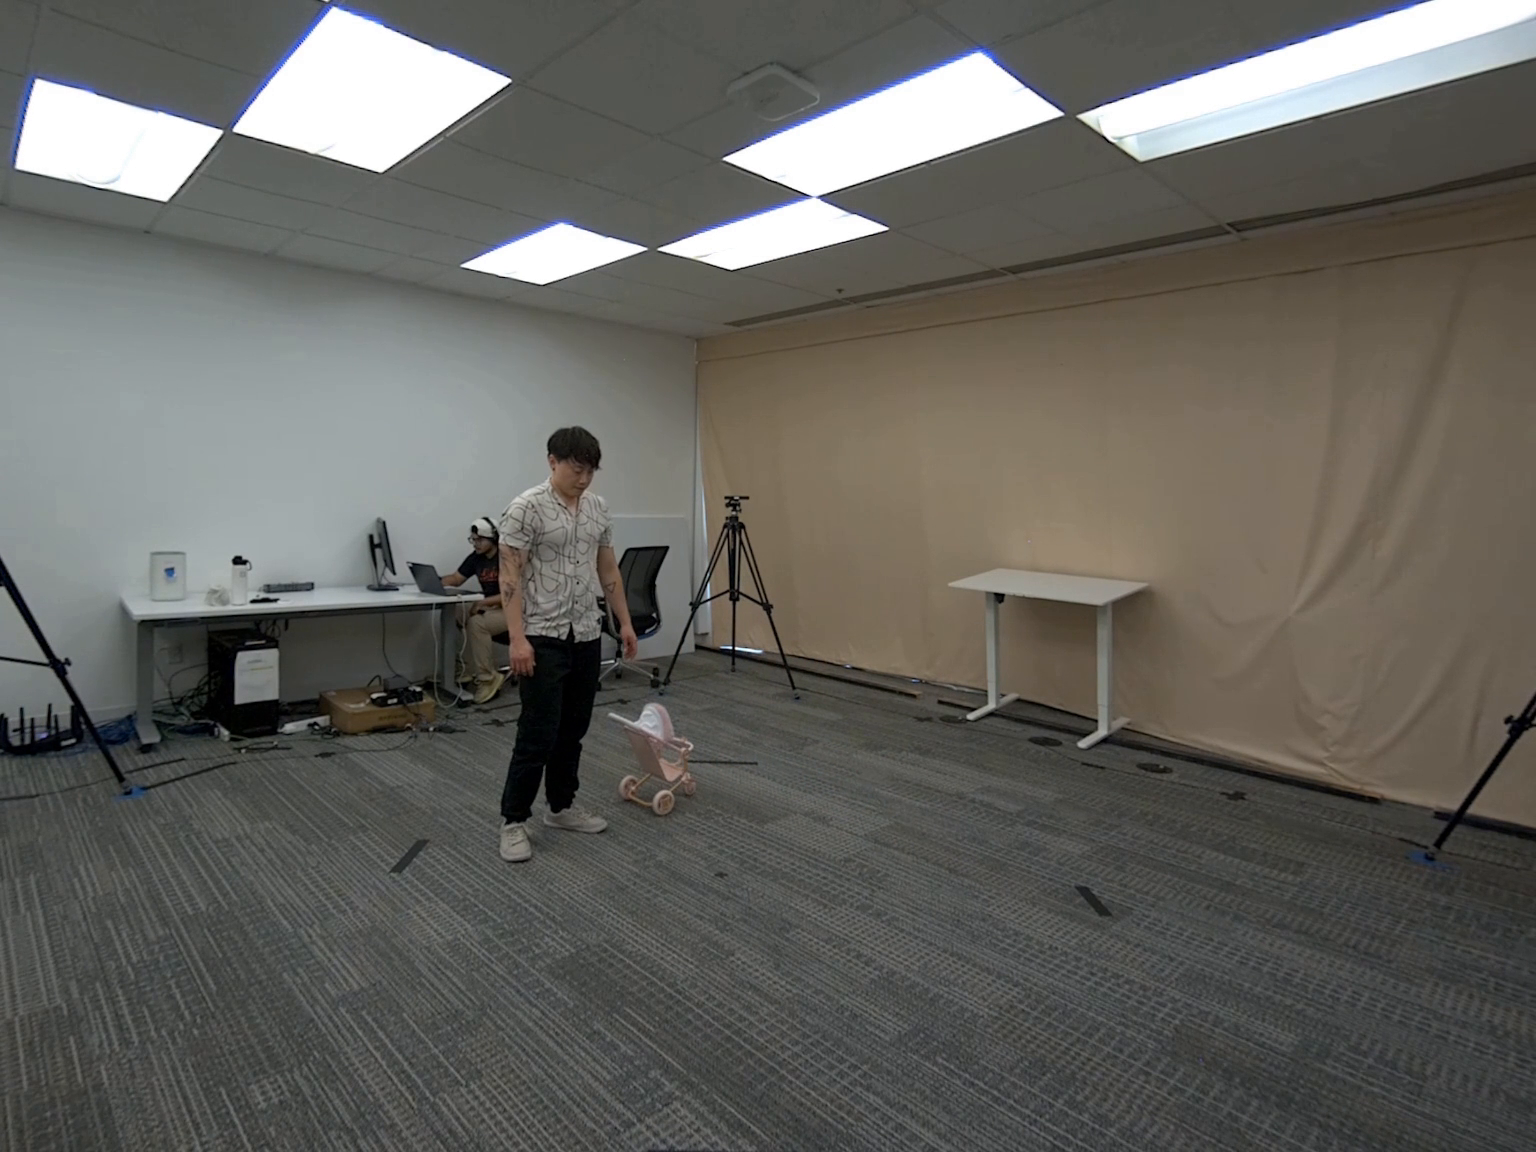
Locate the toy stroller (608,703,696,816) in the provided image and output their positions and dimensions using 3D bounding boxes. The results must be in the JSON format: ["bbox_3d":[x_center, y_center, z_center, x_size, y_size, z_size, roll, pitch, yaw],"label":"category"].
[{"bbox_3d":[-0.504,0.809,3.802,0.336,0.528,0.289,-21,18,-37],"label":"toy stroller"}]
